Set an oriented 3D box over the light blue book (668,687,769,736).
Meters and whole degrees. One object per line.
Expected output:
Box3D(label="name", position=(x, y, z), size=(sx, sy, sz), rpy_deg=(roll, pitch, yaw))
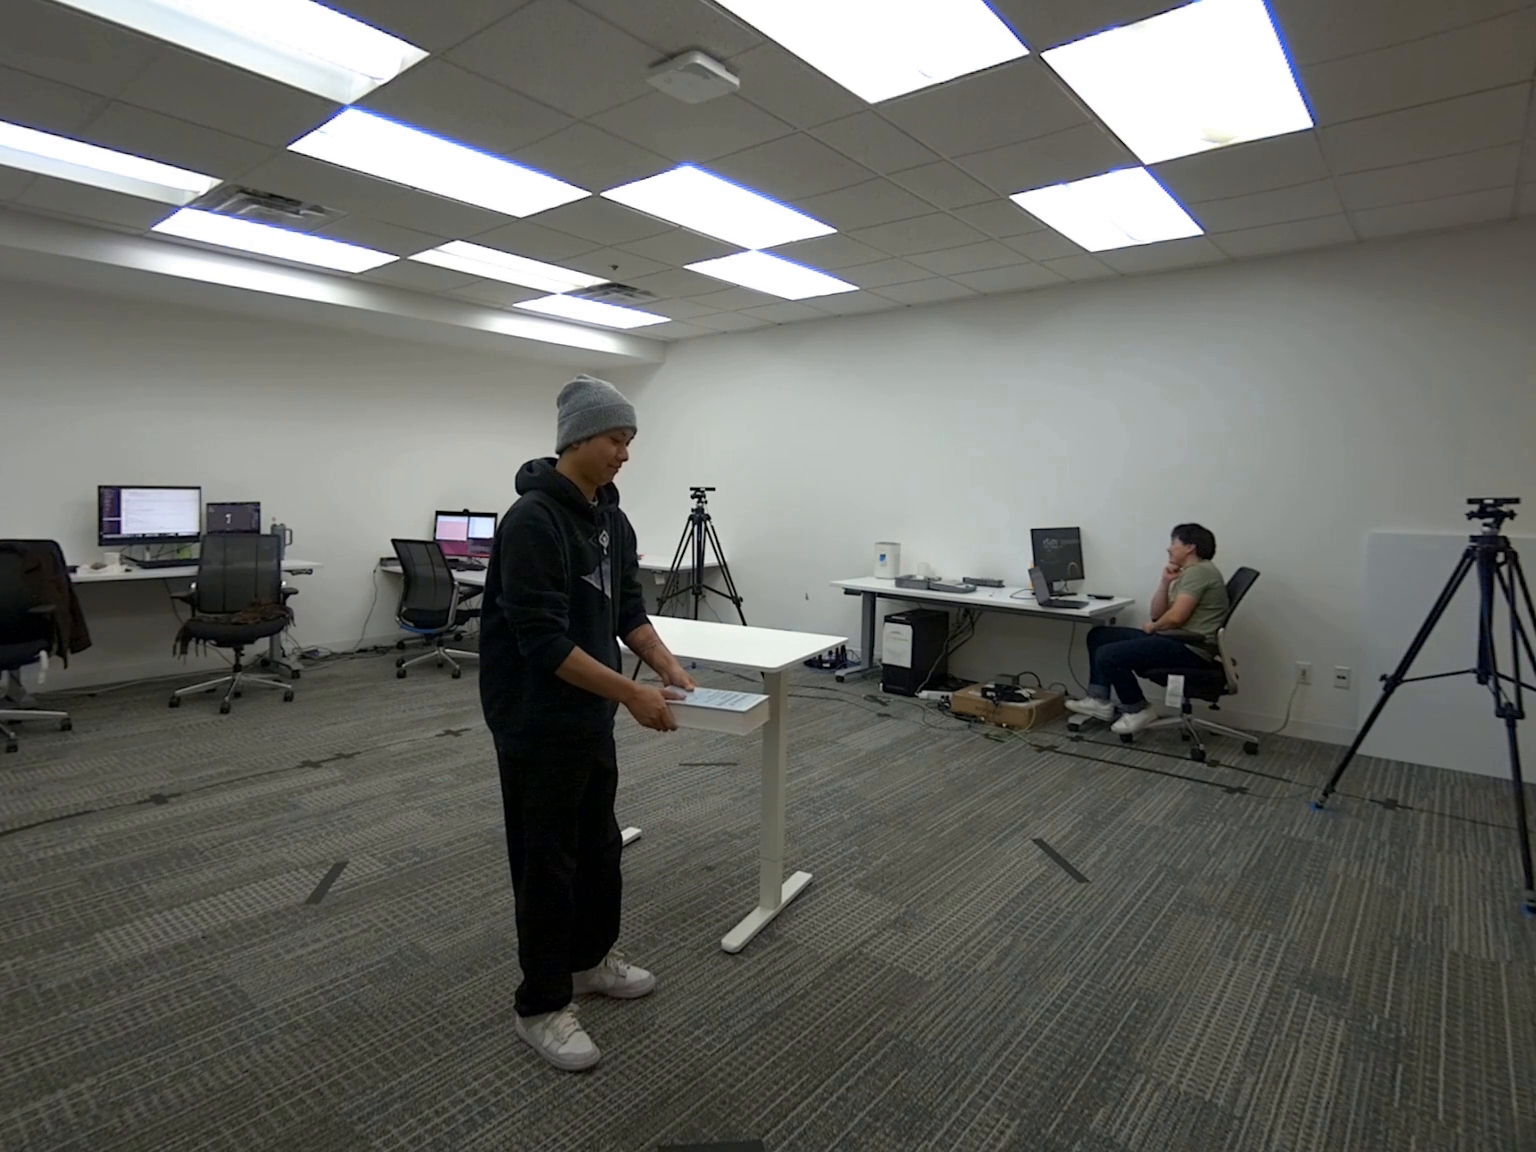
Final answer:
Box3D(label="light blue book", position=(-0.147, 0.316, 2.030), size=(0.266, 0.059, 0.188), rpy_deg=(2, 2, 18))
